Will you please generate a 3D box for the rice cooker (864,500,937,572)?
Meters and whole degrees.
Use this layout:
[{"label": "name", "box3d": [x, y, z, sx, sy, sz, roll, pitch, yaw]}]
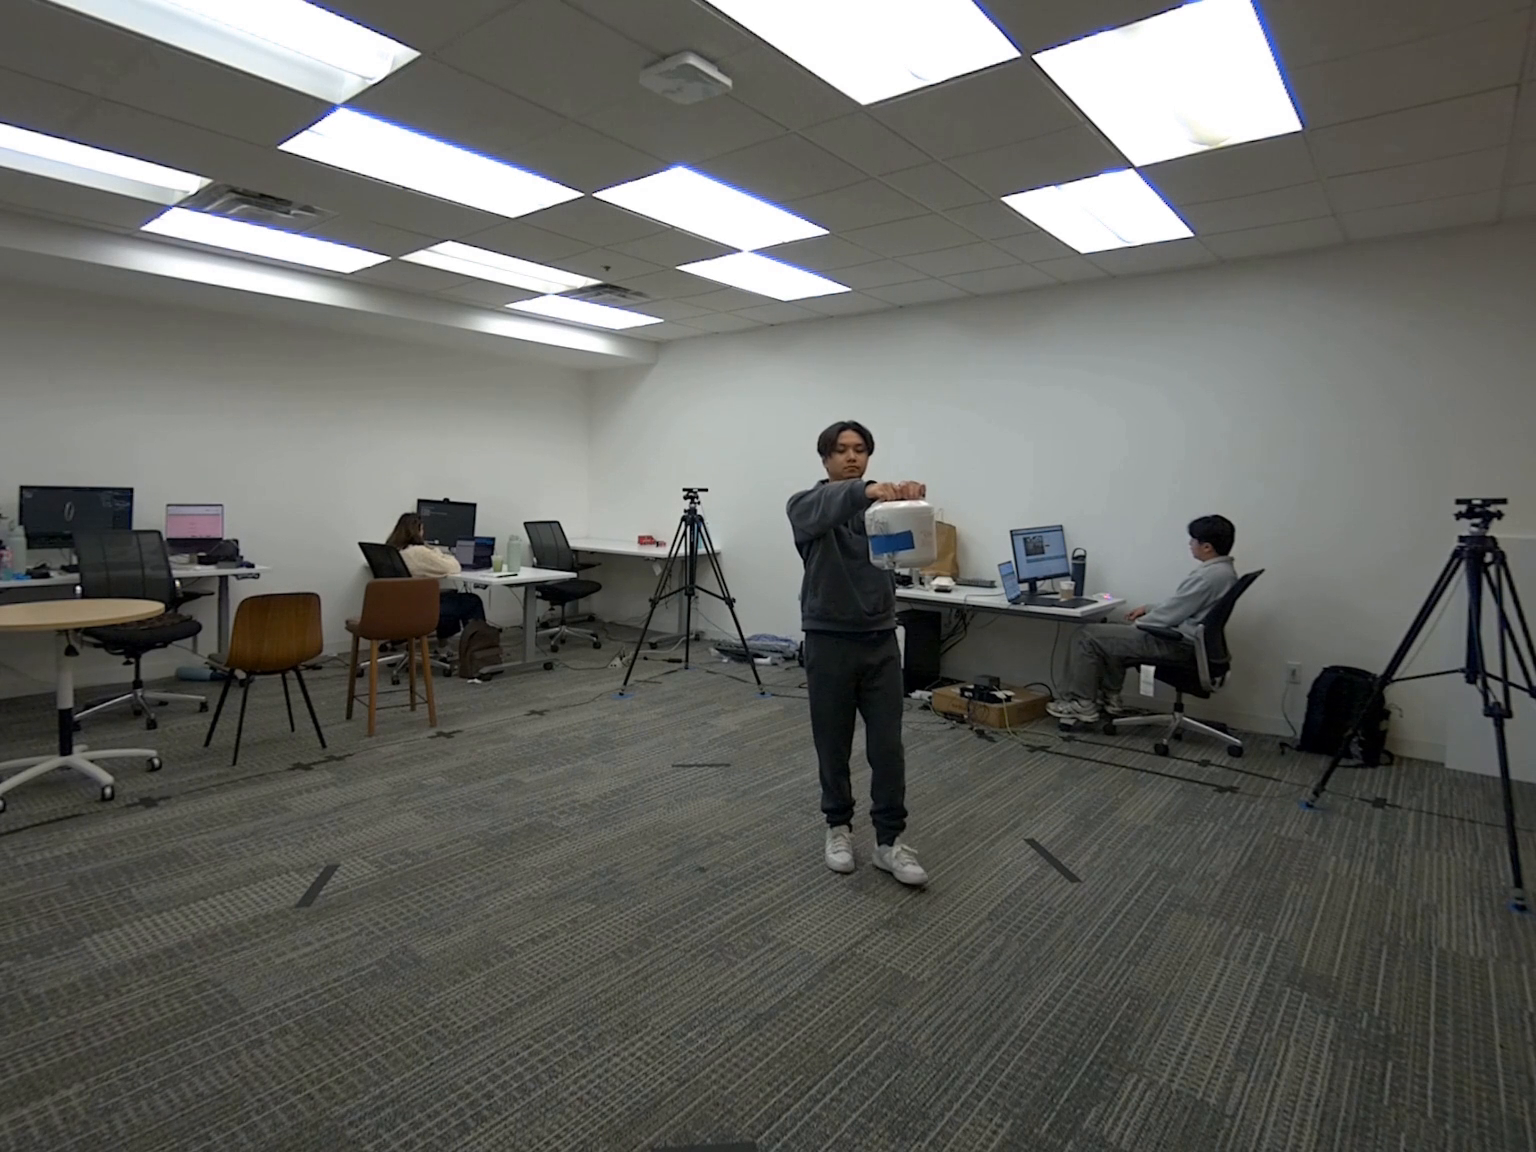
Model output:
[{"label": "rice cooker", "box3d": [0.410, -0.145, 2.673, 0.219, 0.232, 0.220, -3, 2, -9]}]
